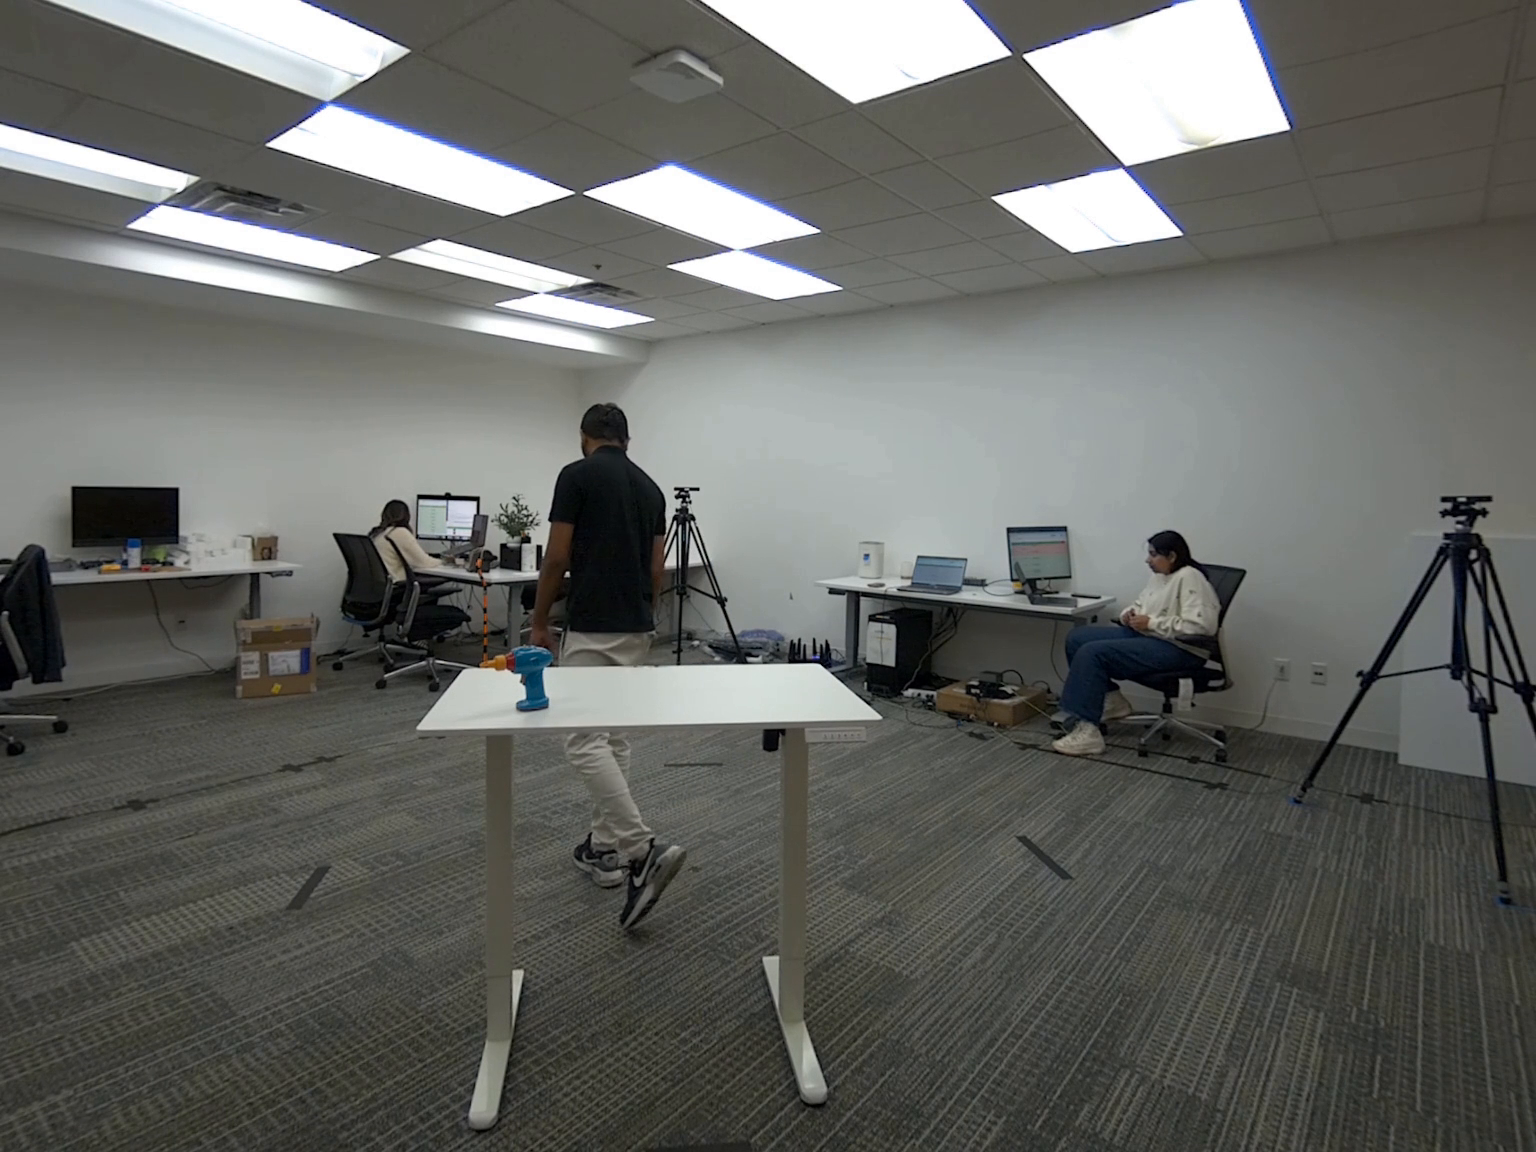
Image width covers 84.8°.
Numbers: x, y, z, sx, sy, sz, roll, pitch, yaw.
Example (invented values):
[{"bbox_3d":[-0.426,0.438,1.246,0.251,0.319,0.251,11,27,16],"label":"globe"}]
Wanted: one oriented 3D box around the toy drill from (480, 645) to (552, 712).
[{"bbox_3d":[-0.572,0.228,1.917,0.165,0.145,0.063,-4,5,-37],"label":"toy drill"}]
